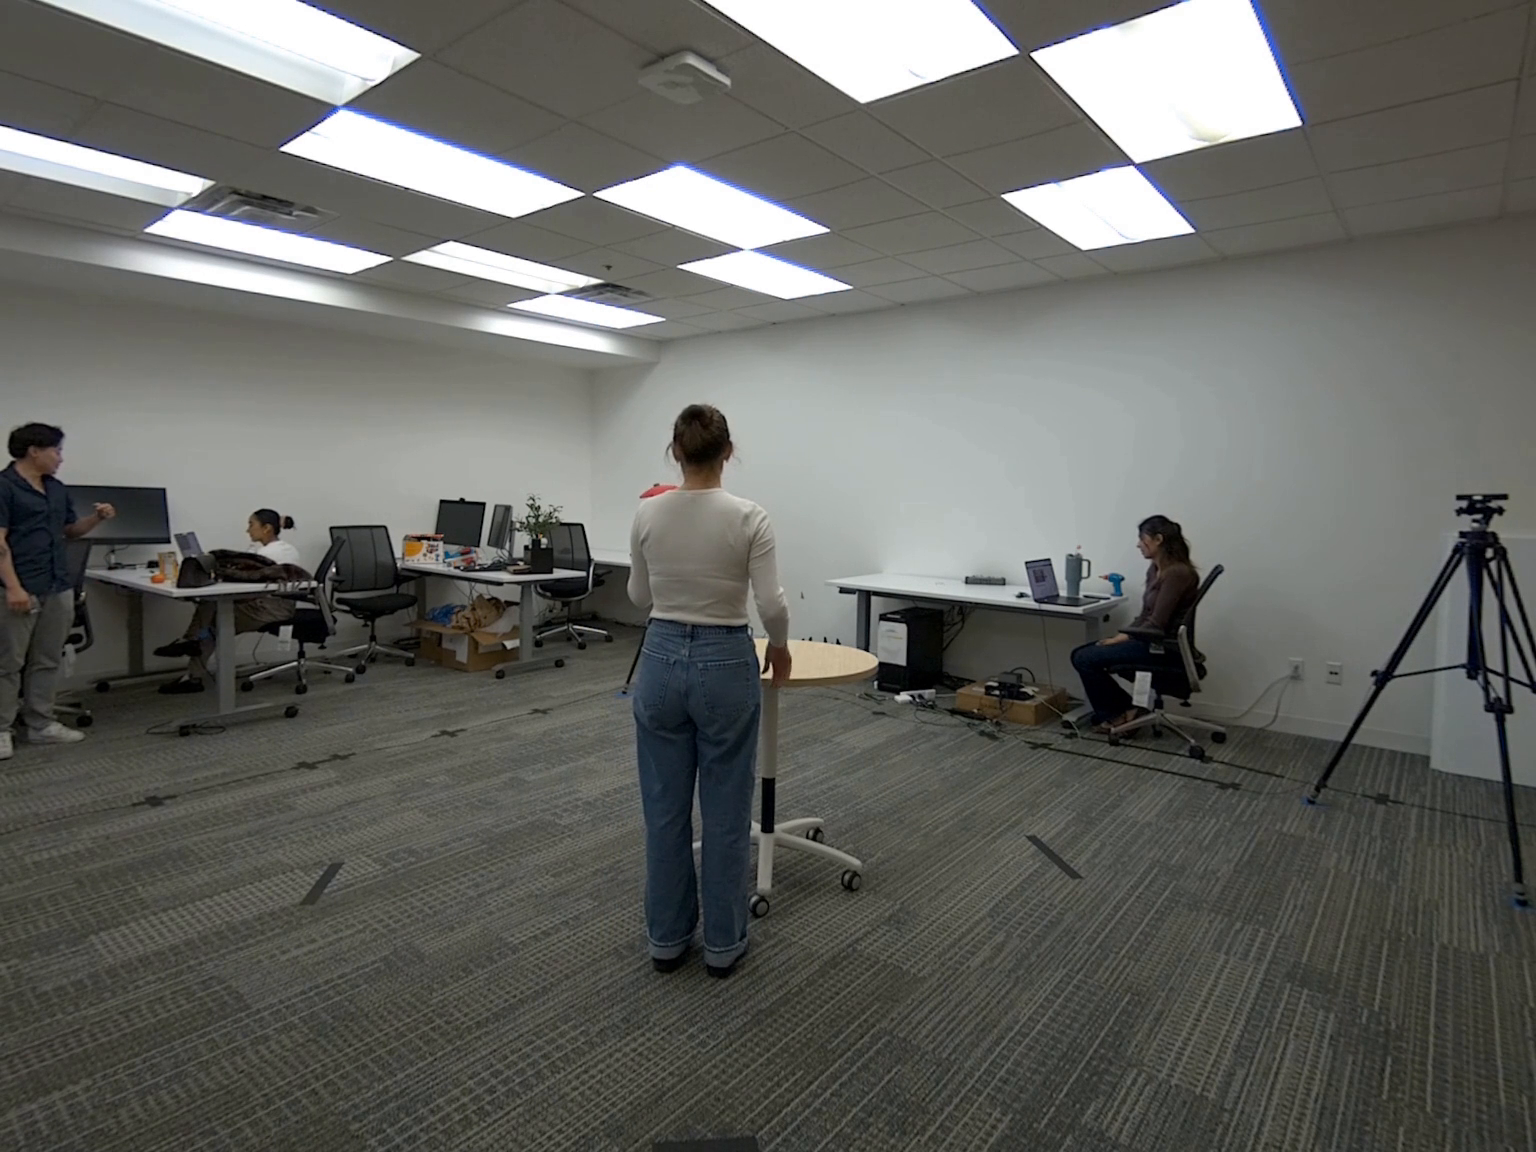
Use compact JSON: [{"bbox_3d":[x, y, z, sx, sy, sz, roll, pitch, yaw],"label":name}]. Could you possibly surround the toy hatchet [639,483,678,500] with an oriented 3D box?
[{"bbox_3d":[-0.297,-0.198,2.793,0.130,0.274,0.029,-34,-10,-21],"label":"toy hatchet"}]
